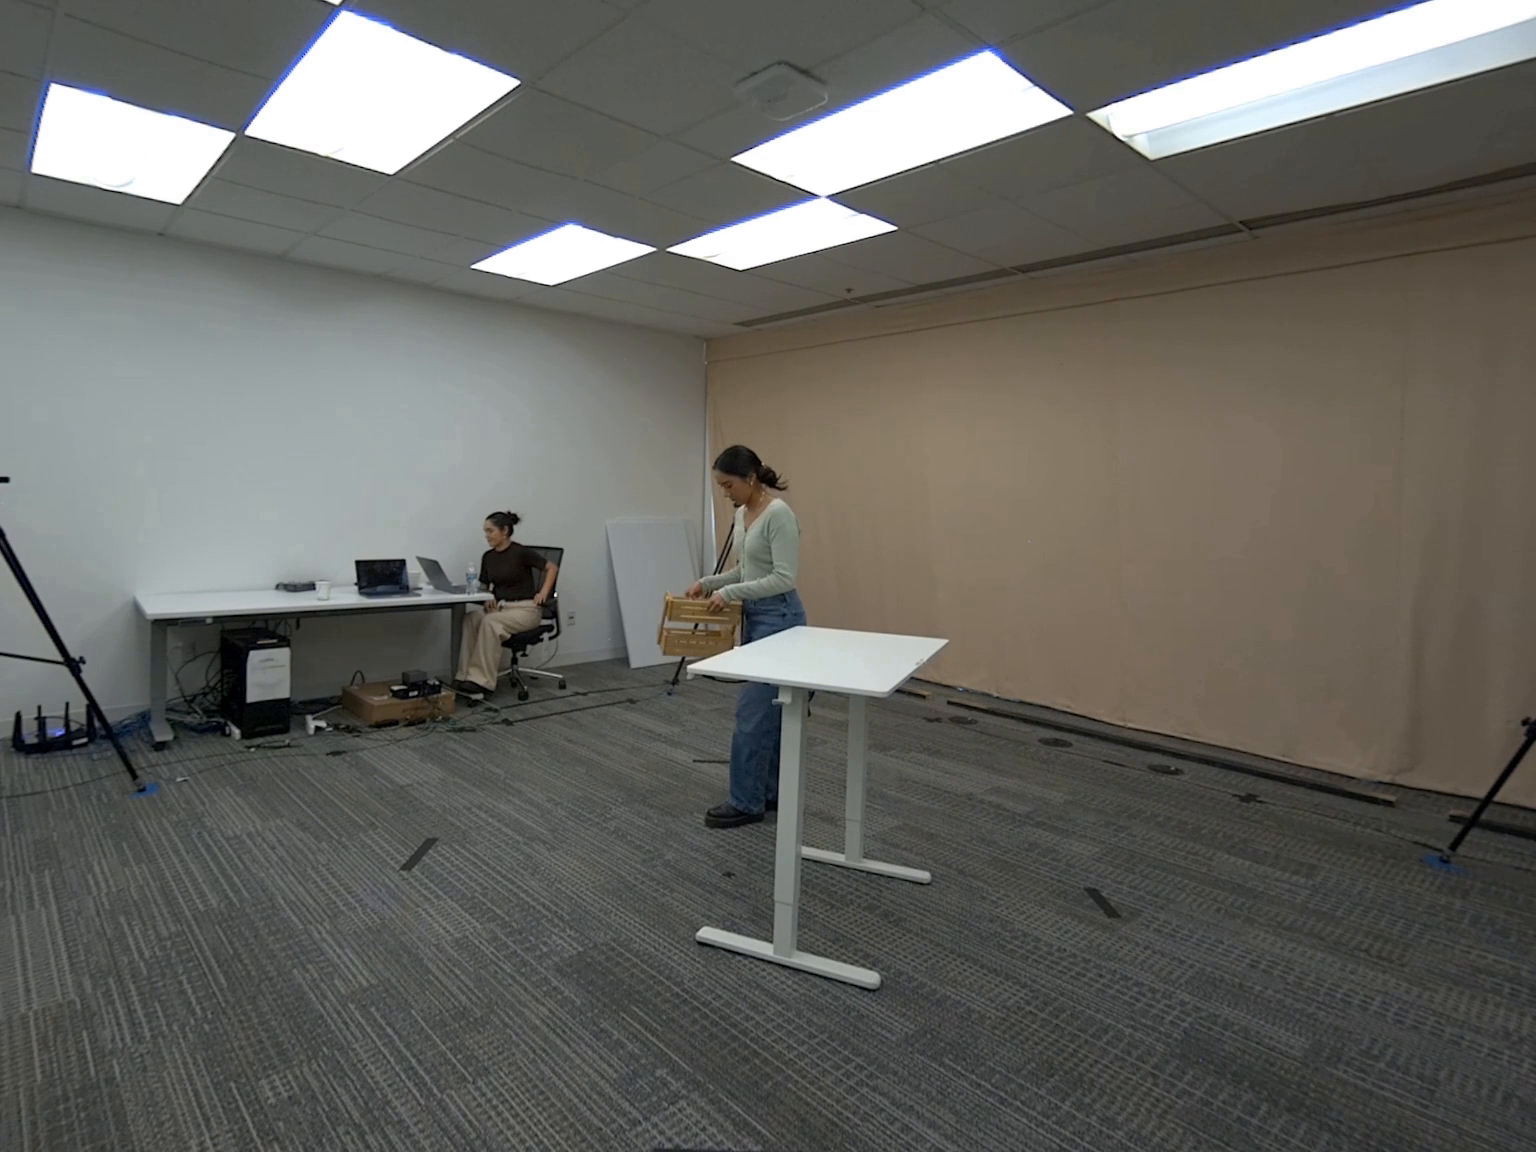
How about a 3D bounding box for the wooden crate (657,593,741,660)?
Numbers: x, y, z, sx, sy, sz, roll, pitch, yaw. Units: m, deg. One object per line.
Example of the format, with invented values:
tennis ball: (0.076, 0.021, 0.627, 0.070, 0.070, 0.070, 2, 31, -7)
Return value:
wooden crate: (-0.314, 0.193, 3.646, 0.320, 0.271, 0.307, 5, 10, -15)
